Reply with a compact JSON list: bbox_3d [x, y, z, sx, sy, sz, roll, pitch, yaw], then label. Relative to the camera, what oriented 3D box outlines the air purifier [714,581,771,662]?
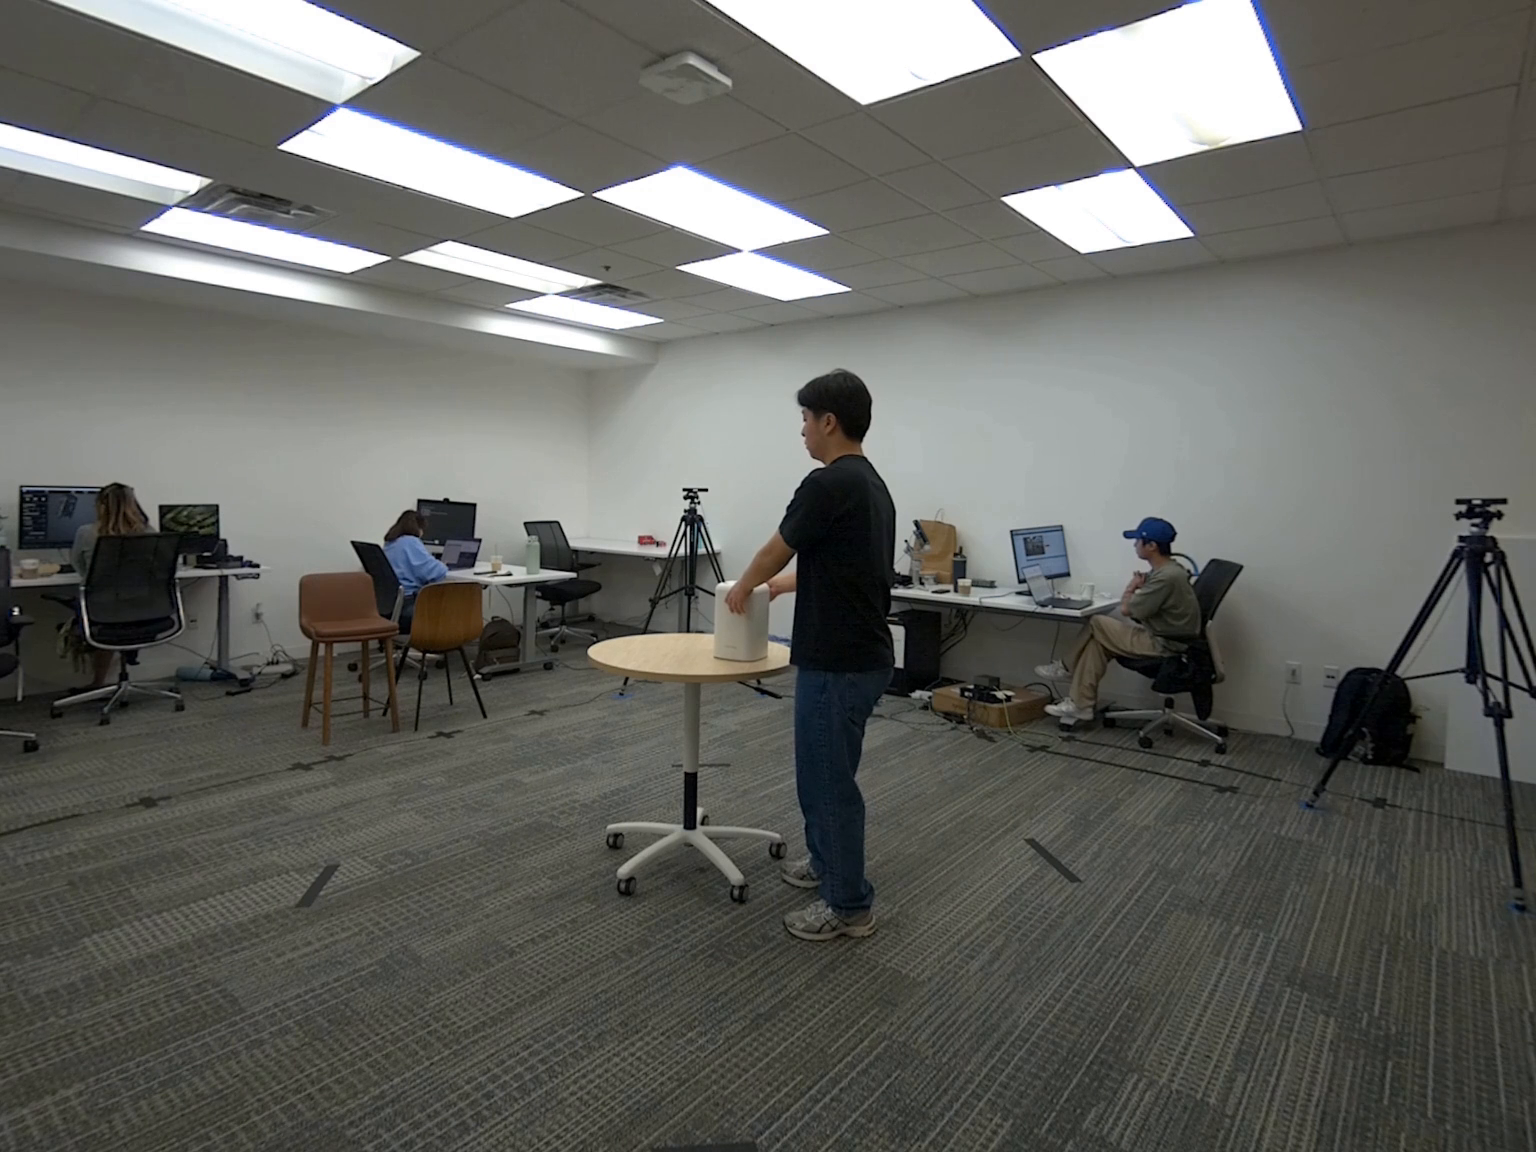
[{"bbox_3d":[-0.106,0.154,3.028,0.176,0.264,0.167,4,4,27],"label":"air purifier"}]
